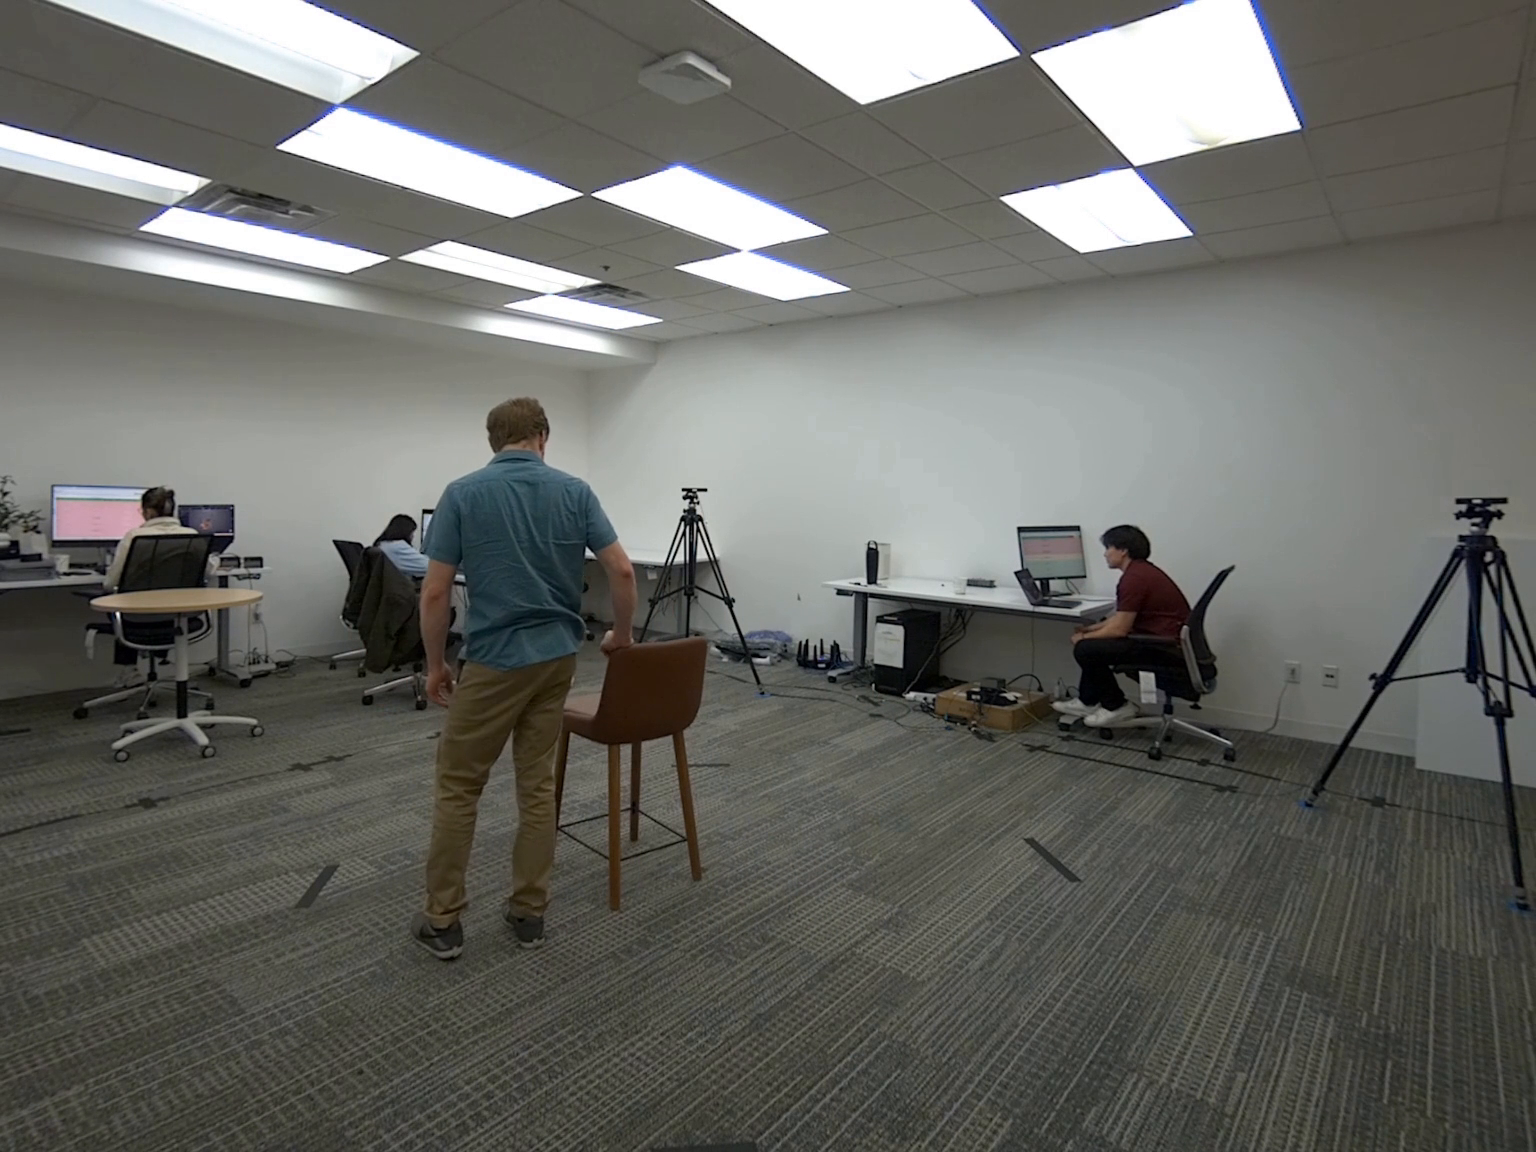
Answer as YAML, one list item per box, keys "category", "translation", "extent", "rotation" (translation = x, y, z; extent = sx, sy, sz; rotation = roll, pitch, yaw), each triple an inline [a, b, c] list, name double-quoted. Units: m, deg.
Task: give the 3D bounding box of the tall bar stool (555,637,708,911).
- category: "tall bar stool"
  translation: [-0.517, 0.635, 3.055]
  extent: [0.442, 0.886, 0.484]
  rotation: [-1, 6, -42]
